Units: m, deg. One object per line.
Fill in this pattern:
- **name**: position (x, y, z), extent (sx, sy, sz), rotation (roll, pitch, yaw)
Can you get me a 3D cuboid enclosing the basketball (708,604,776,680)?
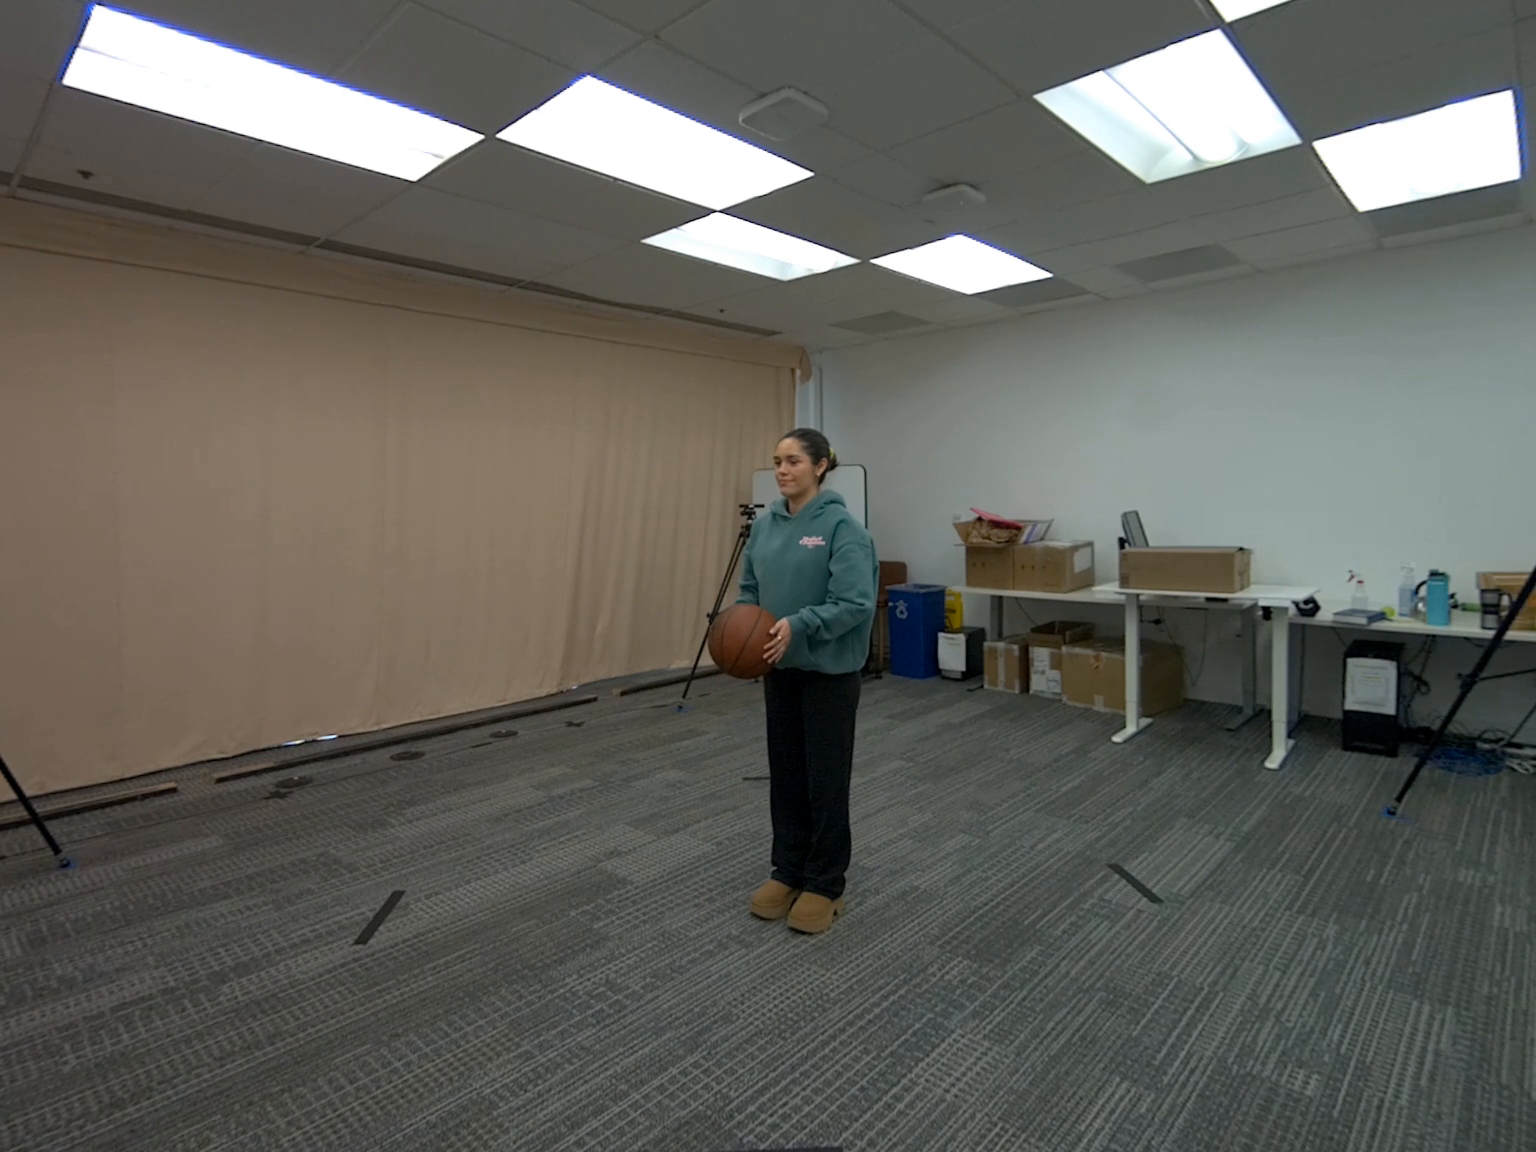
- **basketball**: position (-0.068, 0.205, 2.637), extent (0.236, 0.235, 0.237), rotation (-1, 4, -2)
